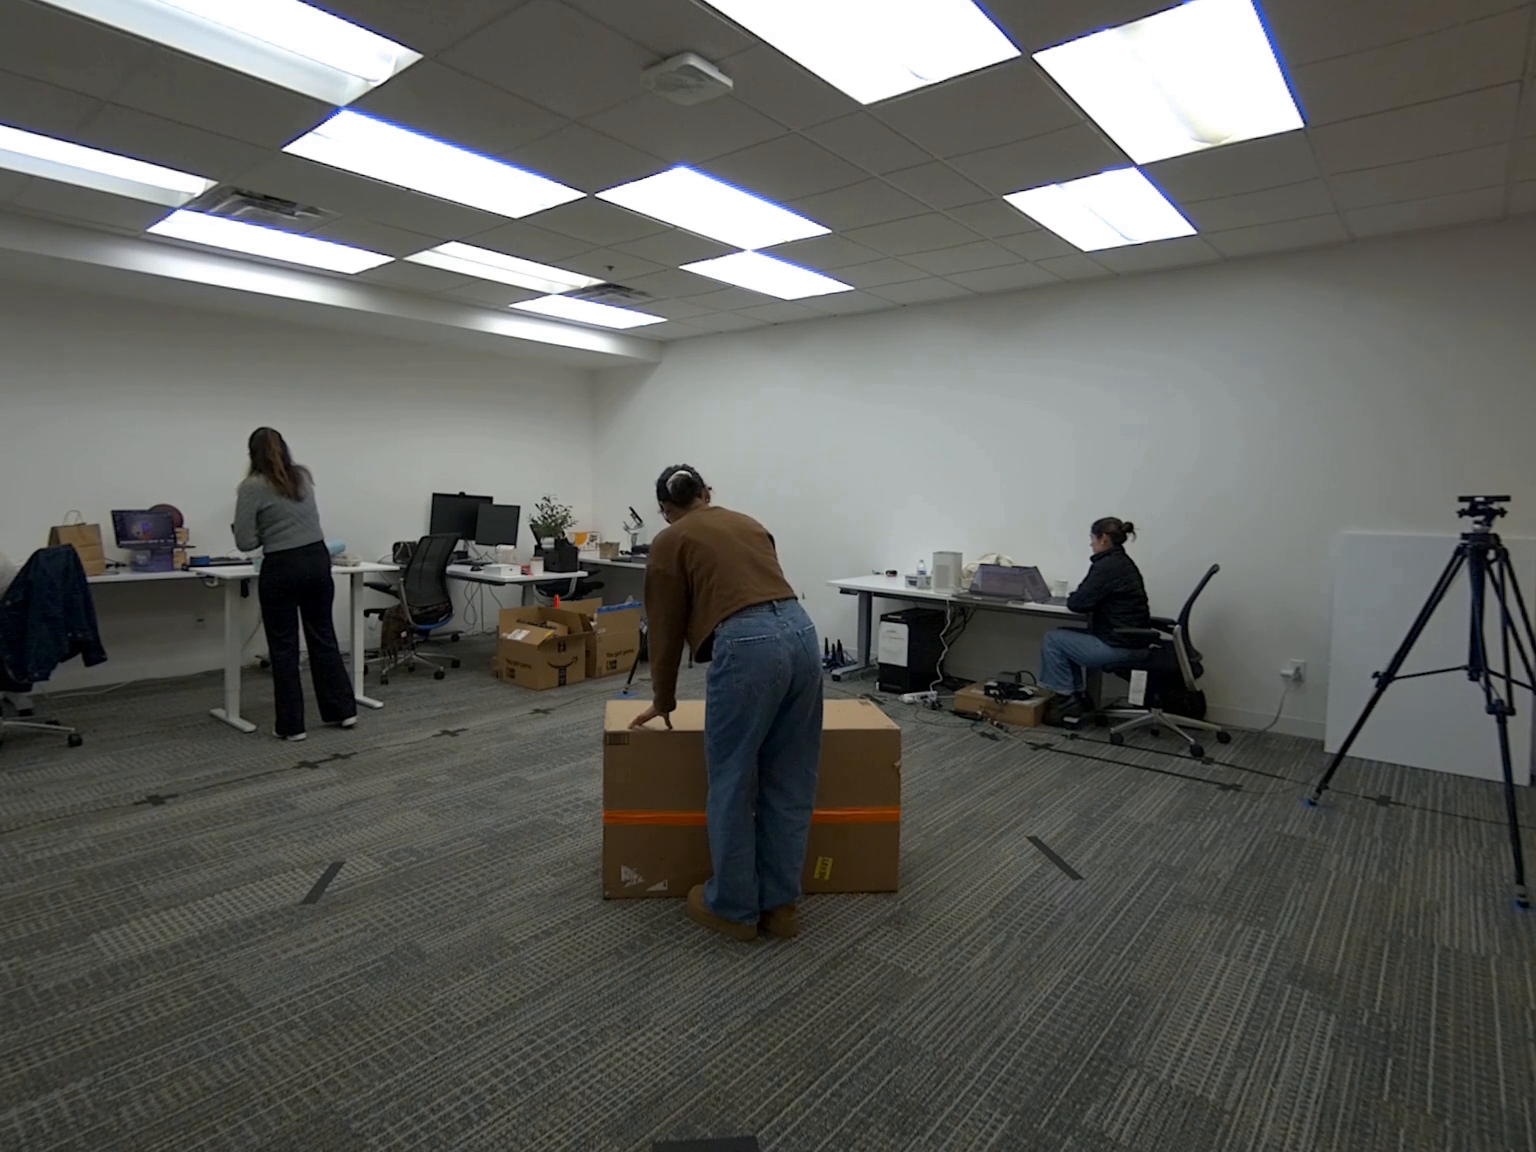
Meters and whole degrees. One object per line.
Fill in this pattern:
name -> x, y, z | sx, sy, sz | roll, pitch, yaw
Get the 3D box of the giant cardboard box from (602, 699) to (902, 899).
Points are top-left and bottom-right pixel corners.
giant cardboard box -> -0.085, 0.784, 3.094 | 1.021, 0.583, 0.450 | 0, 3, -5
